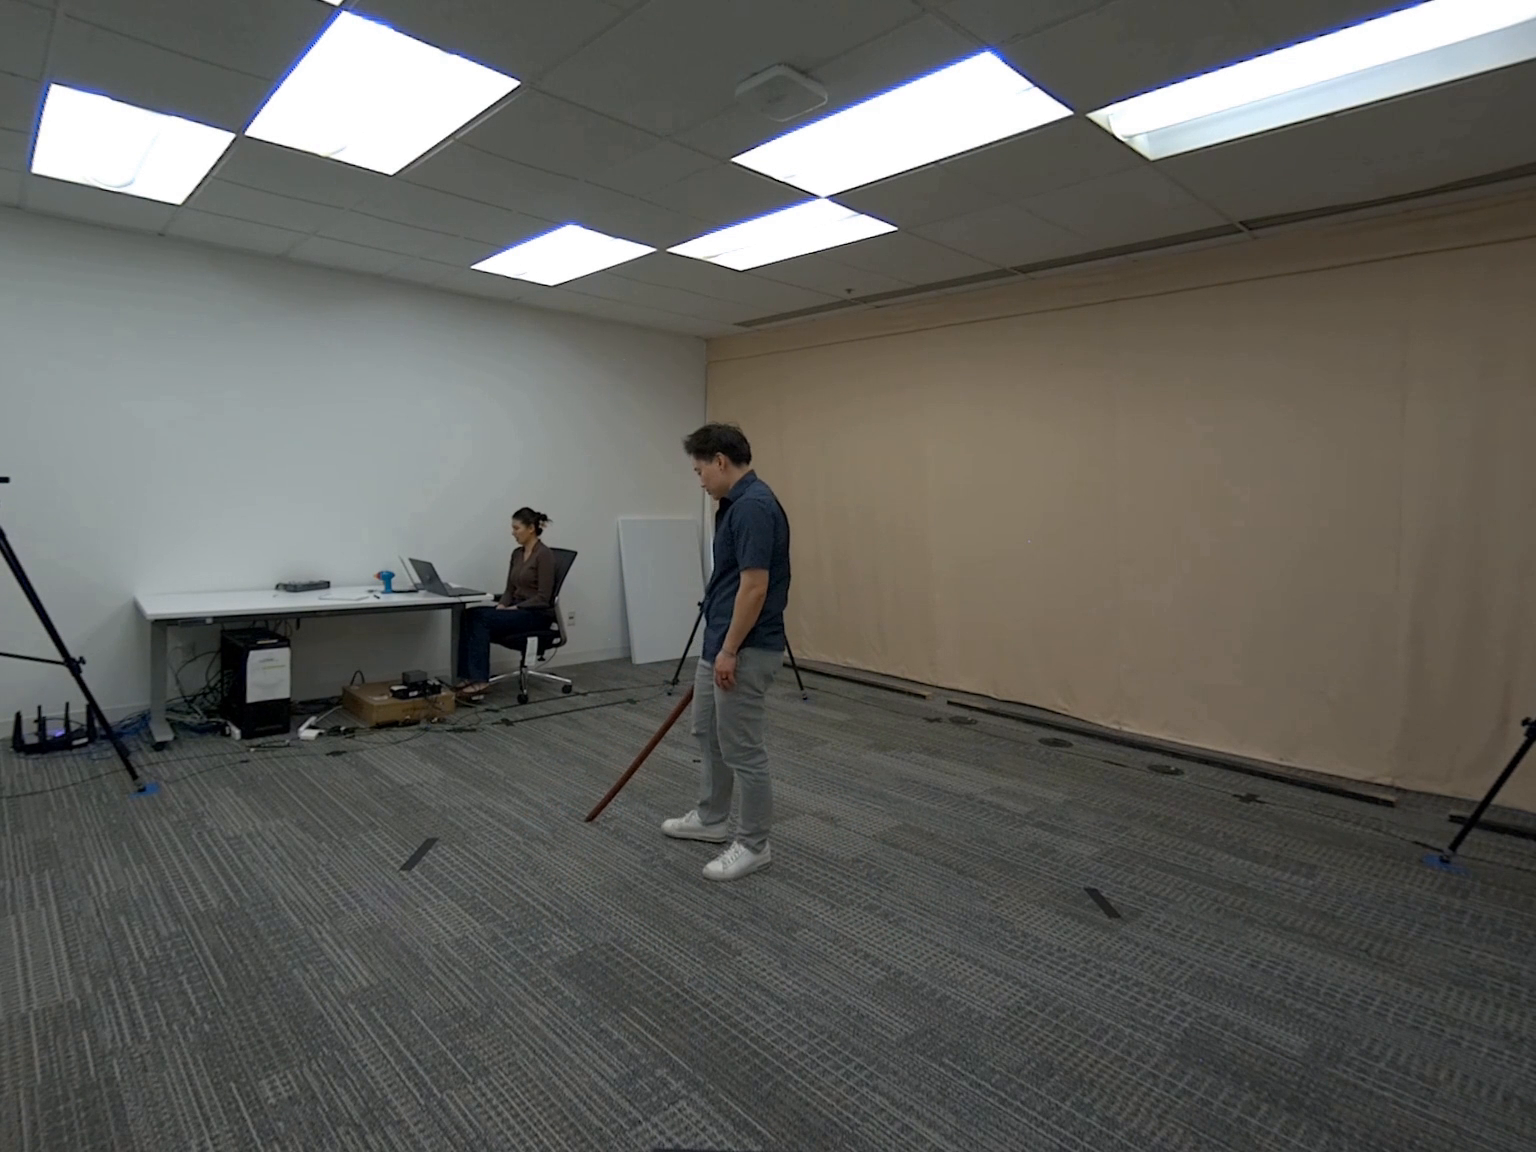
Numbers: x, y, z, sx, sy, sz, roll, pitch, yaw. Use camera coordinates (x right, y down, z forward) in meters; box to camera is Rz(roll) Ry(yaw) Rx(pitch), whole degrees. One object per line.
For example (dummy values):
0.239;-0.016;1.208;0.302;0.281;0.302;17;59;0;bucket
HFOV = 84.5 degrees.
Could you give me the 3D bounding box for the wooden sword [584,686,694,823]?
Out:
-0.463;0.664;3.497;0.053;1.024;0.023;46;12;33;wooden sword
